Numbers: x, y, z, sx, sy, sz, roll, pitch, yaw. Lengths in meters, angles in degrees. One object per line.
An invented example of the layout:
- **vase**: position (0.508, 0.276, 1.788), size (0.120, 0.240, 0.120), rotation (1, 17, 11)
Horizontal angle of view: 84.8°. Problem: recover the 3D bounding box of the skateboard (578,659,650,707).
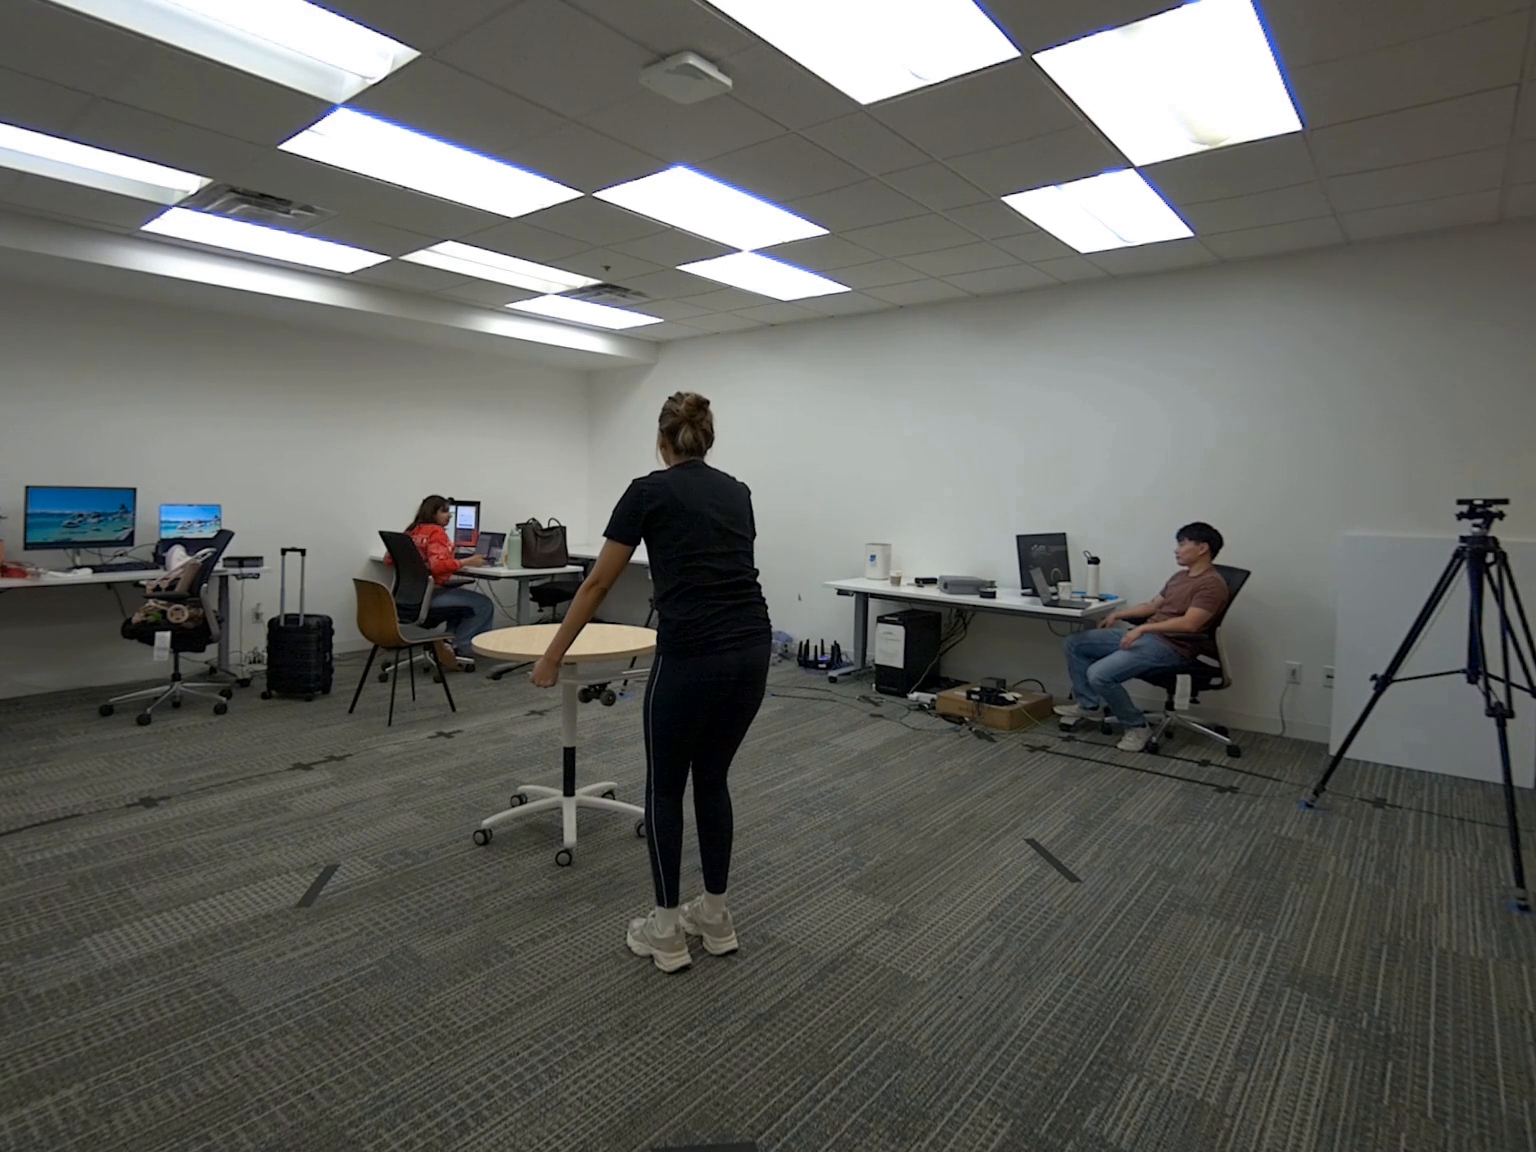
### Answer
- **skateboard**: position (-0.411, 0.348, 2.795), size (0.762, 0.110, 0.199), rotation (-3, -1, -38)
